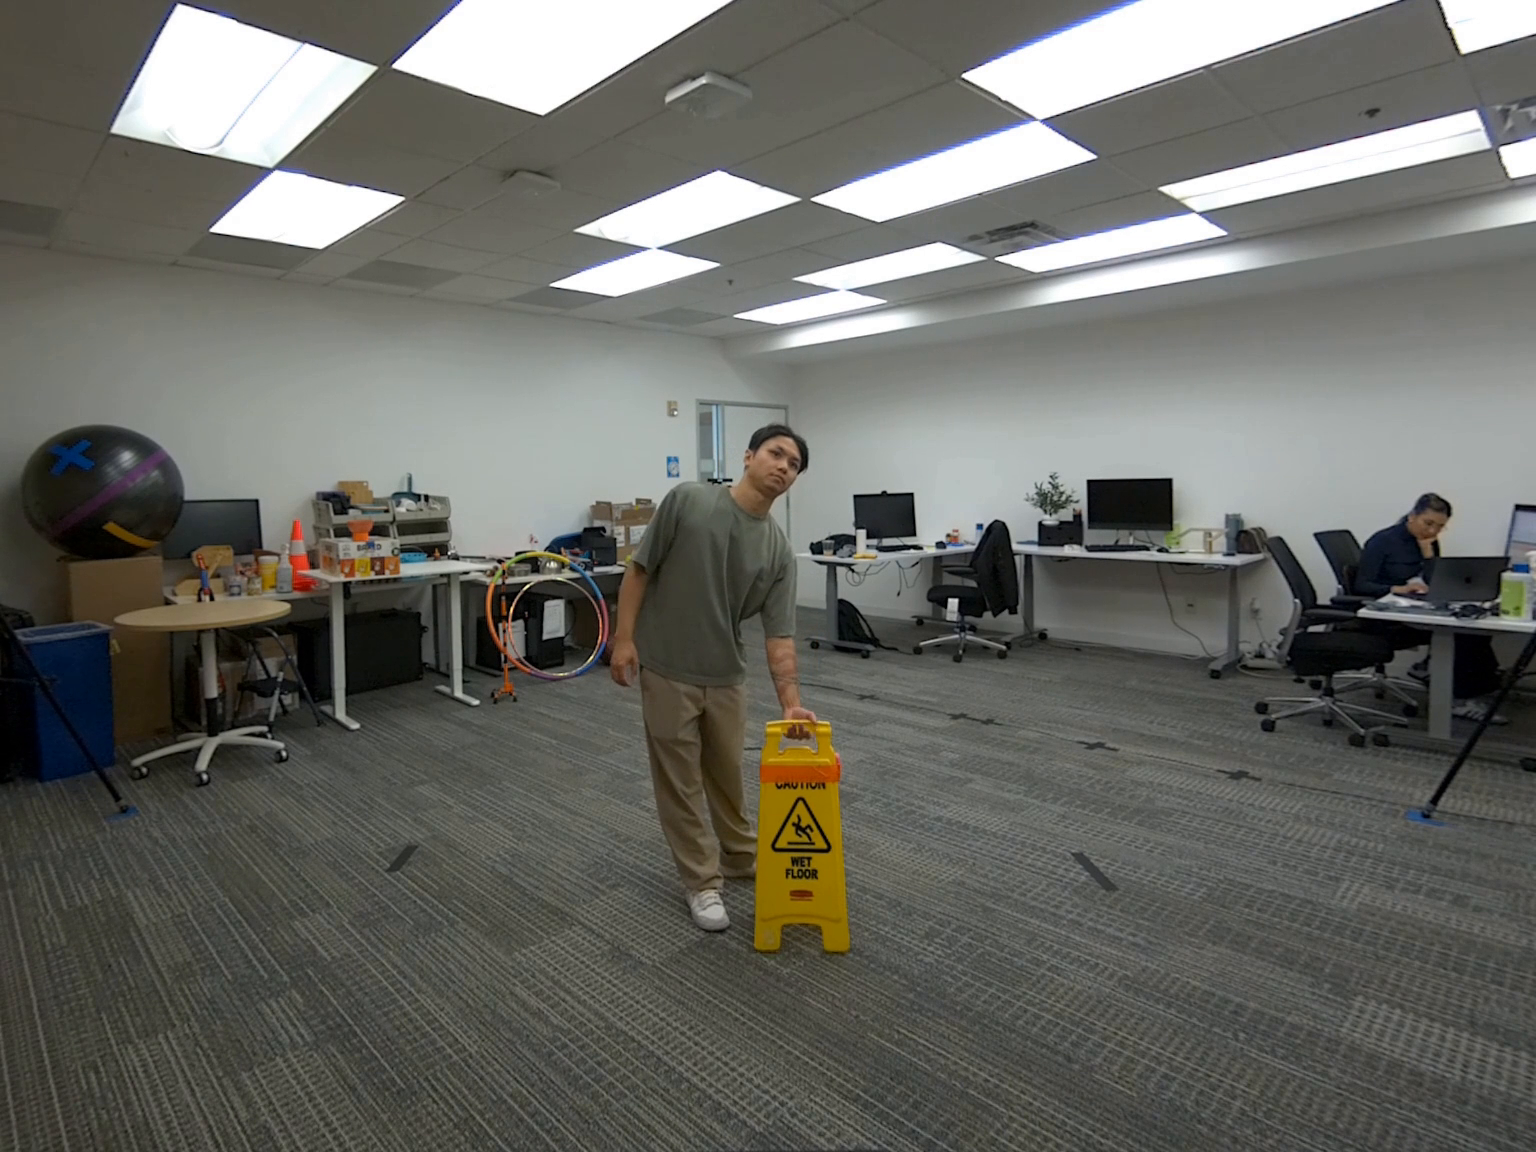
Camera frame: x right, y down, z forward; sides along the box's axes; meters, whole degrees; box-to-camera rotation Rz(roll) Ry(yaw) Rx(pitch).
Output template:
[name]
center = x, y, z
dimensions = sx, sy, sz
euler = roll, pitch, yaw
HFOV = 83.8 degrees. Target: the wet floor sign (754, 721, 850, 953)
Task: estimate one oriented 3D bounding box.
[wet floor sign]
center = 0.100, 0.749, 2.605
dimensions = 0.283, 0.643, 0.290
euler = 1, 5, 1
